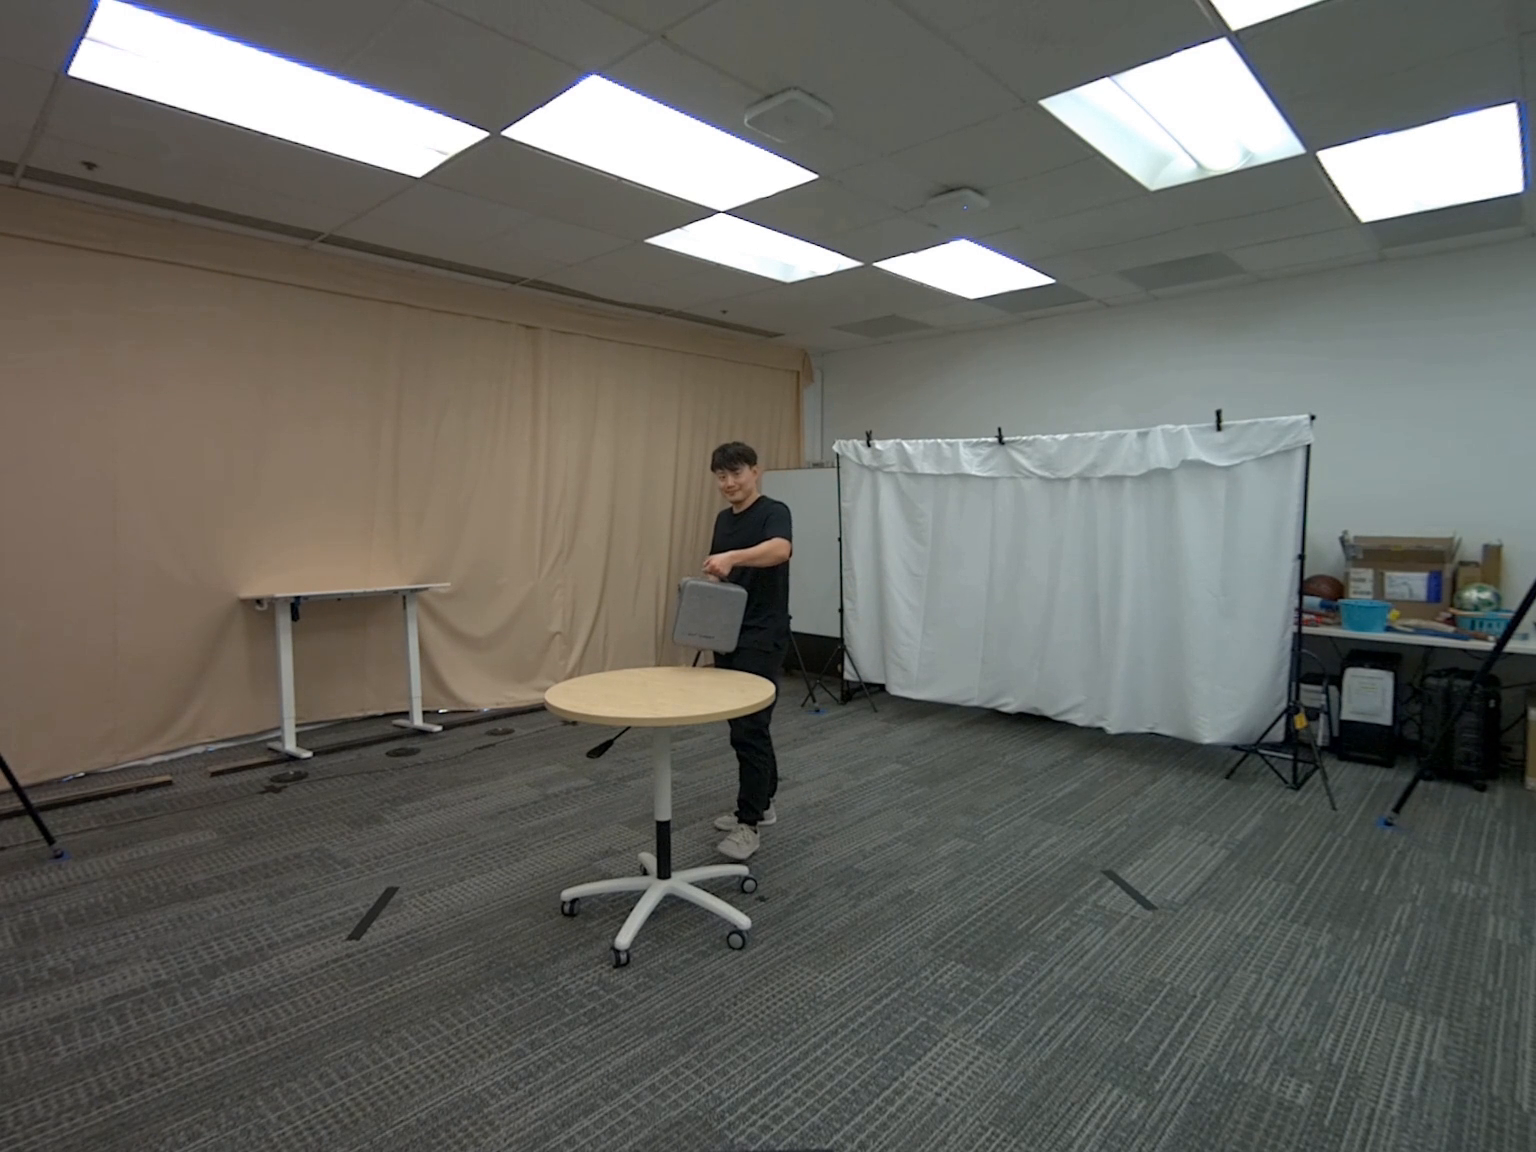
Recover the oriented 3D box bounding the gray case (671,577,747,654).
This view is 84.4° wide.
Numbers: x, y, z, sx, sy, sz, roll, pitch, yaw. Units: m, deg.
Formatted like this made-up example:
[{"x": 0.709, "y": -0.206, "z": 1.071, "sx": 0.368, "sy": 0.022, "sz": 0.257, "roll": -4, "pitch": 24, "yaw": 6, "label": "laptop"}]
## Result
[{"x": -0.224, "y": 0.139, "z": 3.161, "sx": 0.251, "sy": 0.260, "sz": 0.107, "roll": 11, "pitch": 6, "yaw": -20, "label": "gray case"}]
